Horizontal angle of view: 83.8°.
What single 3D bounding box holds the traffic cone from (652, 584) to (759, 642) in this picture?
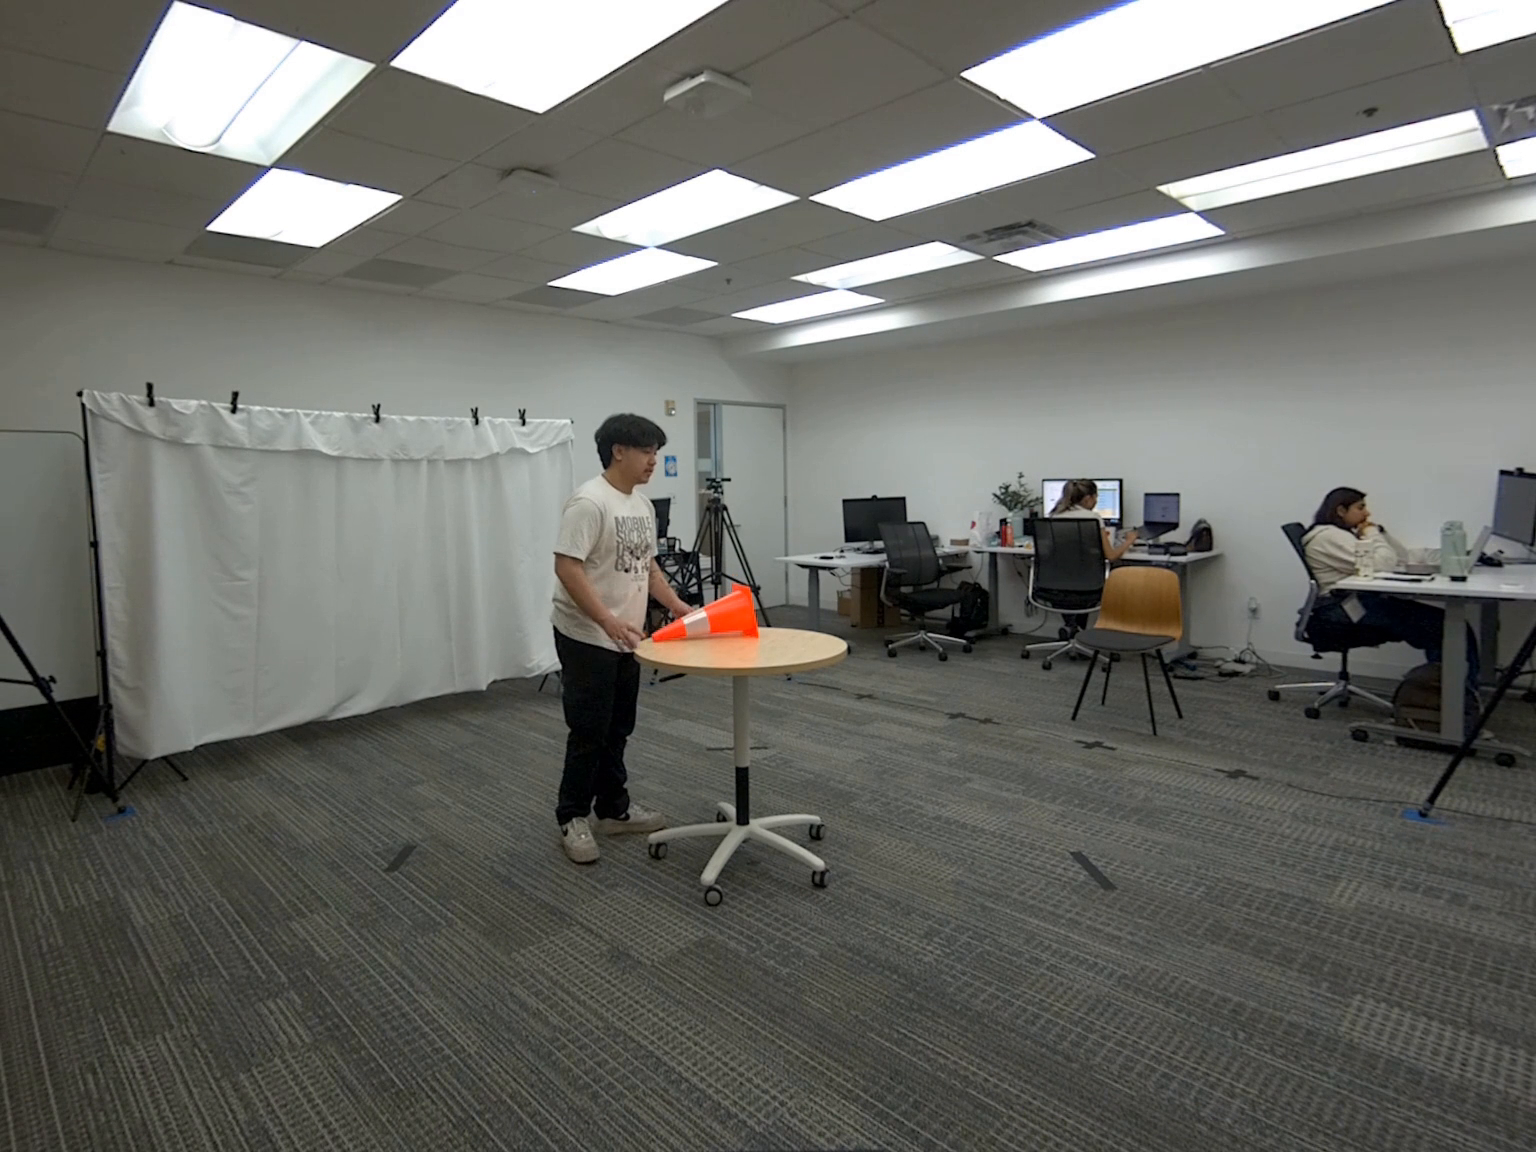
[{"bbox_3d":[-0.261,0.182,3.217,0.379,0.201,0.210,-16,13,-19],"label":"traffic cone"}]
